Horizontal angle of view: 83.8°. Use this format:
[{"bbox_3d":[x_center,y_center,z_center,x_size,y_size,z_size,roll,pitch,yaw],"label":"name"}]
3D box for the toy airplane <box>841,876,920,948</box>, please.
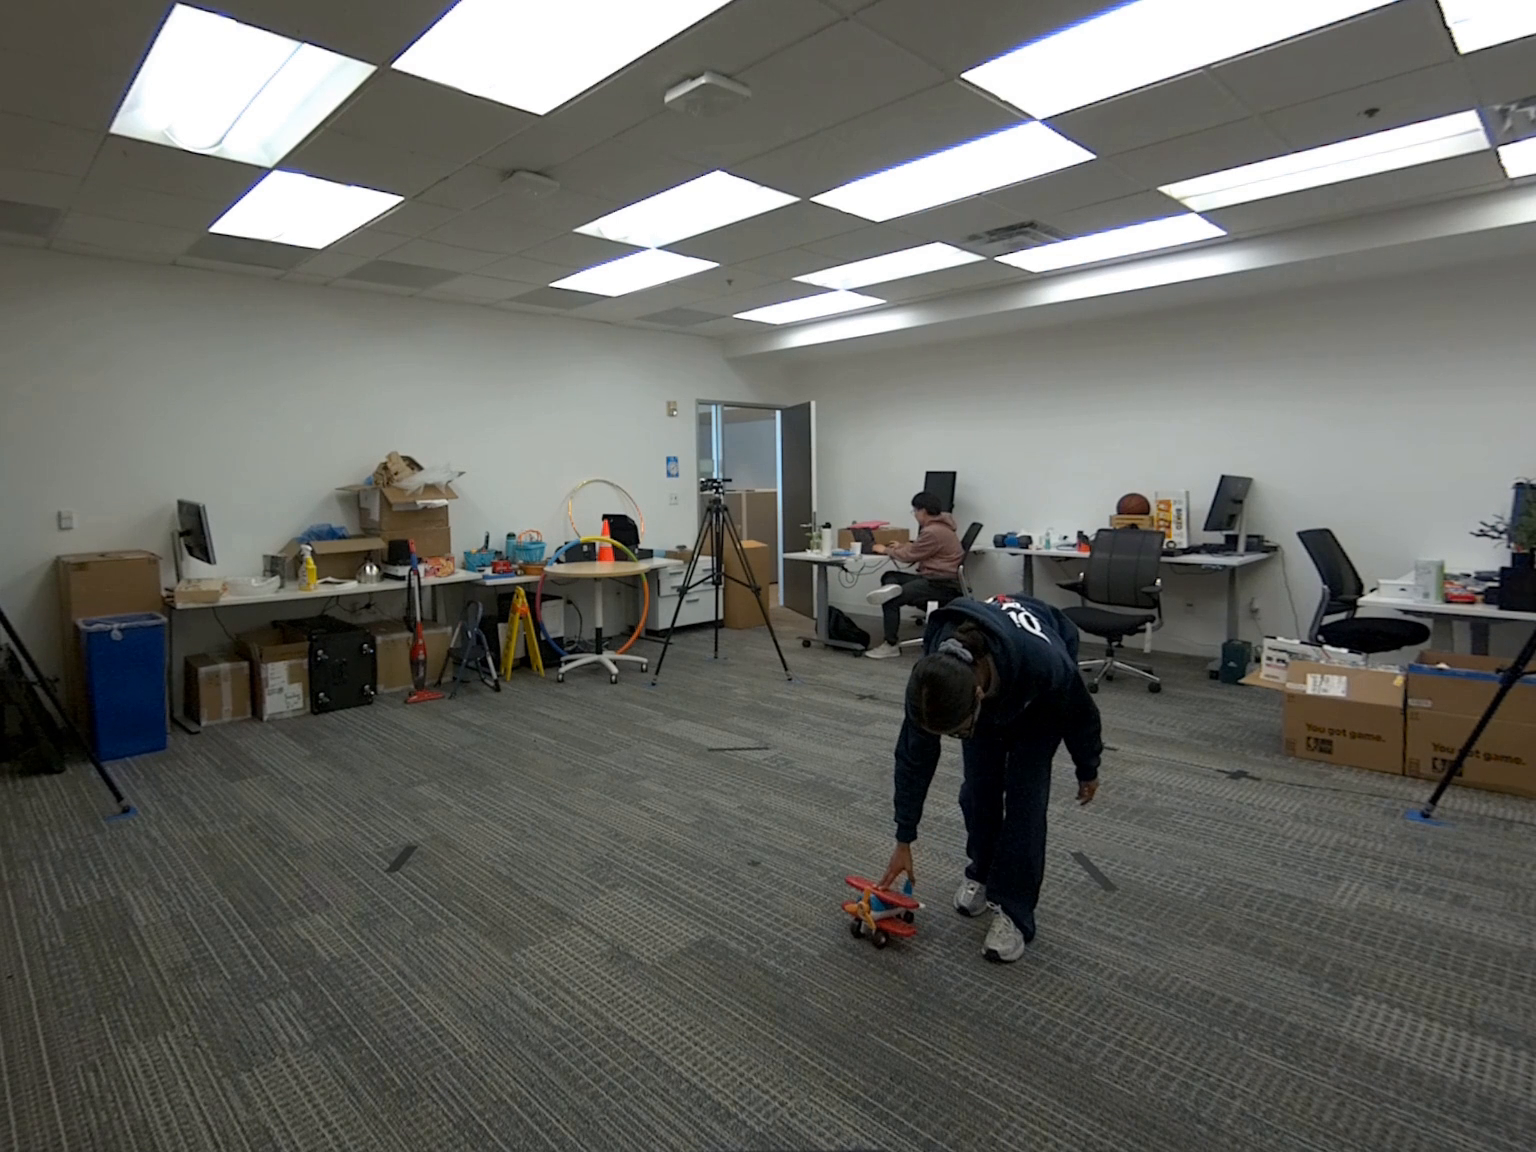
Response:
[{"bbox_3d":[0.351,1.016,2.632,0.255,0.155,0.256,1,7,17],"label":"toy airplane"}]
